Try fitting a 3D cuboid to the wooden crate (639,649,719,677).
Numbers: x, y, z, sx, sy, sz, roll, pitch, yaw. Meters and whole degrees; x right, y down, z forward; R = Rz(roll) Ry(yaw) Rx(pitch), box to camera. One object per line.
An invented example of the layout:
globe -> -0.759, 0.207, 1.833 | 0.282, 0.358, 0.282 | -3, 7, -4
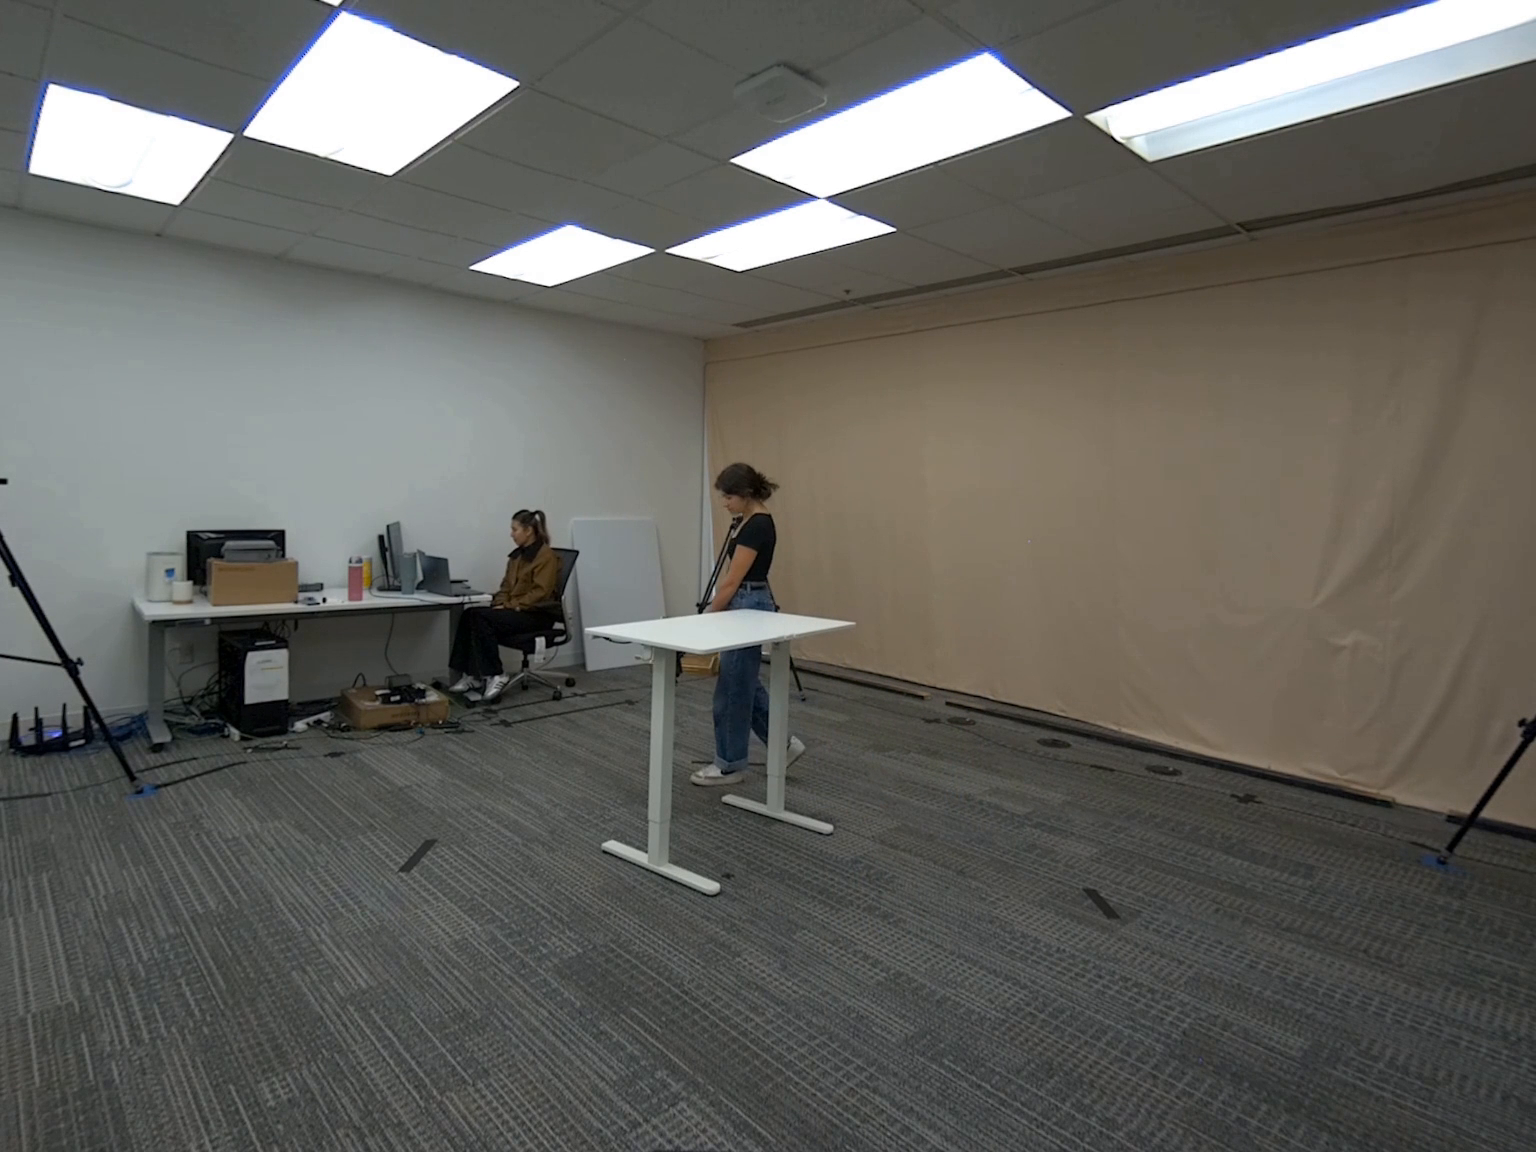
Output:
wooden crate -> -0.392, 0.333, 4.093 | 0.327, 0.274, 0.298 | 4, -3, 10
